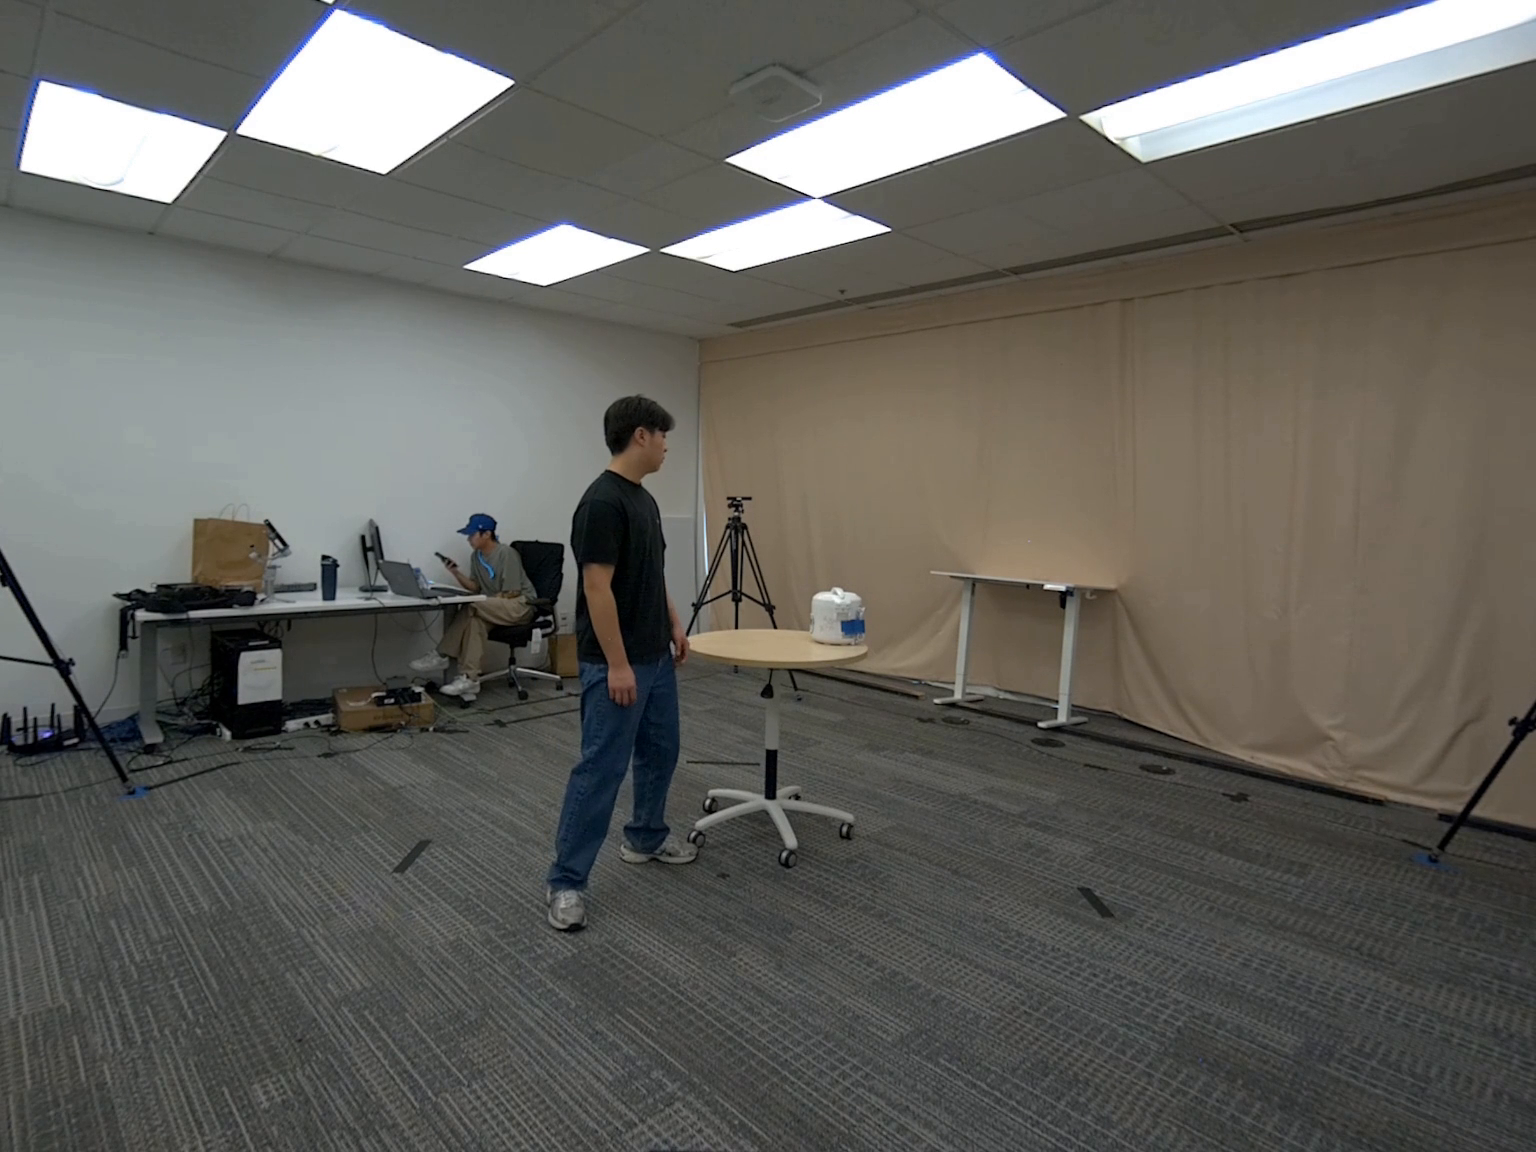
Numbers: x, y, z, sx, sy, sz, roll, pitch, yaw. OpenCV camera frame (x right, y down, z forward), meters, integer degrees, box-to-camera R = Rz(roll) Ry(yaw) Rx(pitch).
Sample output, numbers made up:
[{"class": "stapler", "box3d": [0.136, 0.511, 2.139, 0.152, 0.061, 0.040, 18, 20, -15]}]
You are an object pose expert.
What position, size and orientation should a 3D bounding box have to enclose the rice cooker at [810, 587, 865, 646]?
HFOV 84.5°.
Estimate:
[{"class": "rice cooker", "box3d": [0.288, 0.168, 3.573, 0.216, 0.232, 0.222, 3, 3, -7]}]
